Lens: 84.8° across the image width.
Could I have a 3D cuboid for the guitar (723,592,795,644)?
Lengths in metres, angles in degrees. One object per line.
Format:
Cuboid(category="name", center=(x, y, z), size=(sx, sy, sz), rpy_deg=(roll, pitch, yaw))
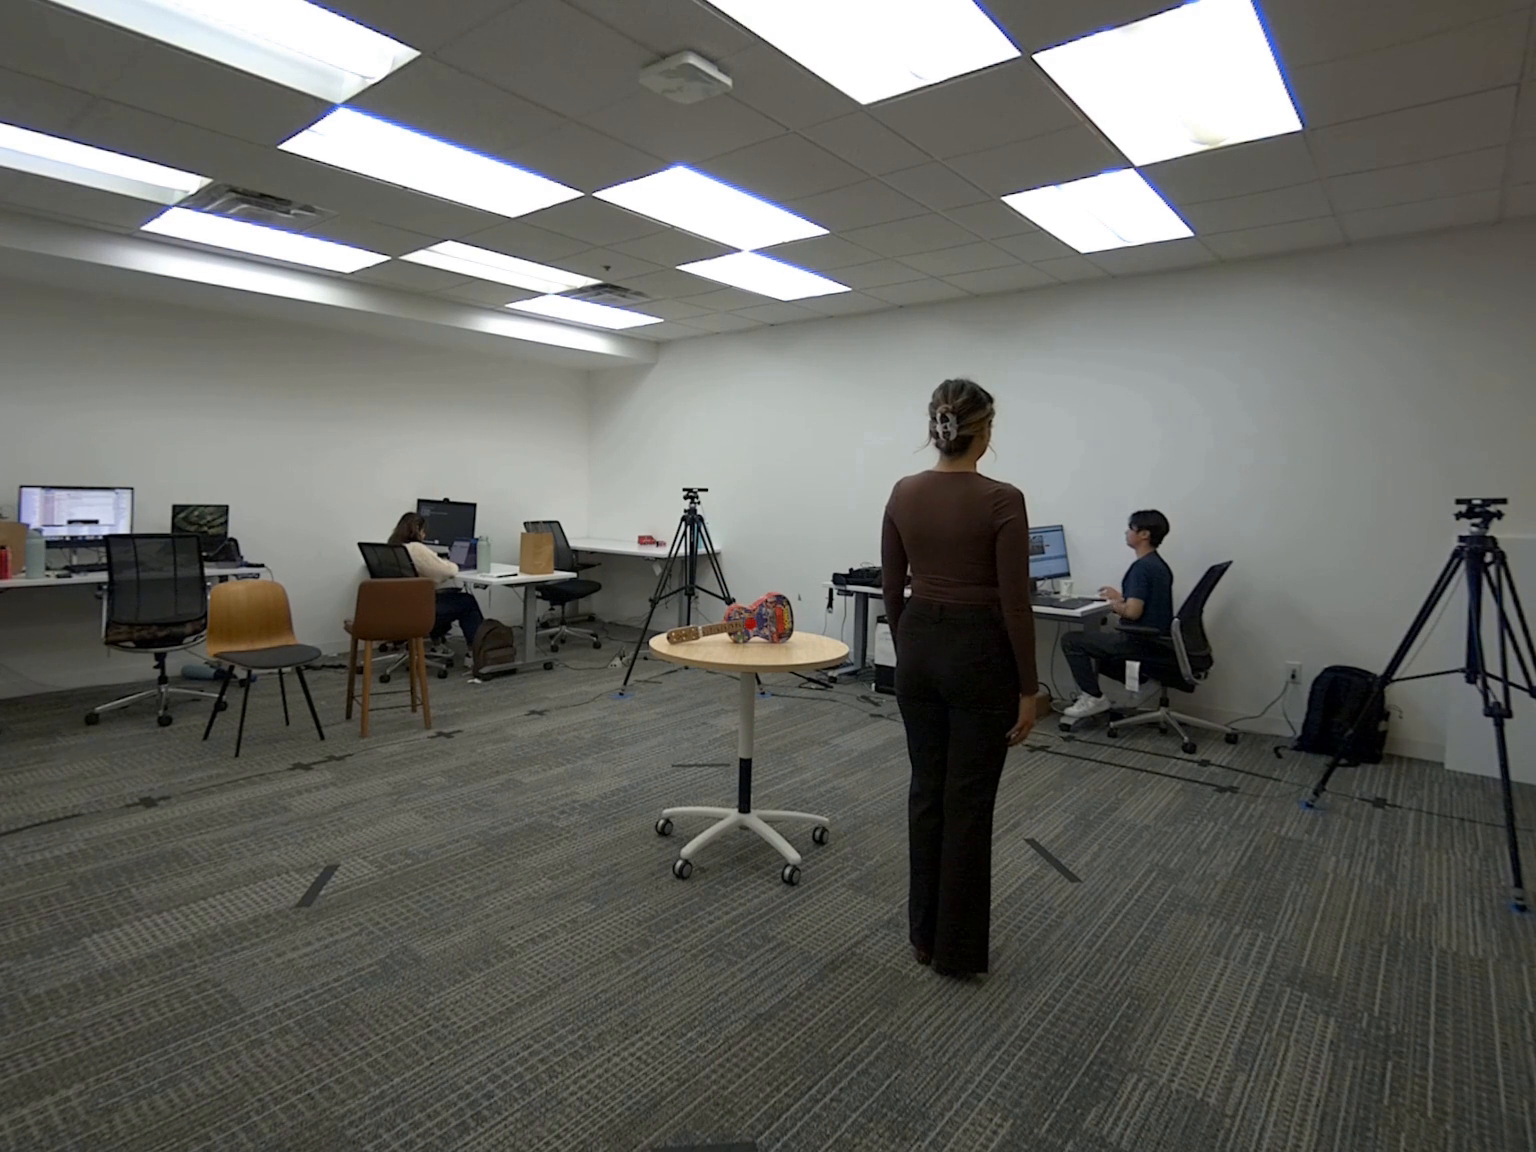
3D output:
Cuboid(category="guitar", center=(-0.156, 0.165, 3.291), size=(0.492, 0.192, 0.072), rpy_deg=(0, 6, -11))
